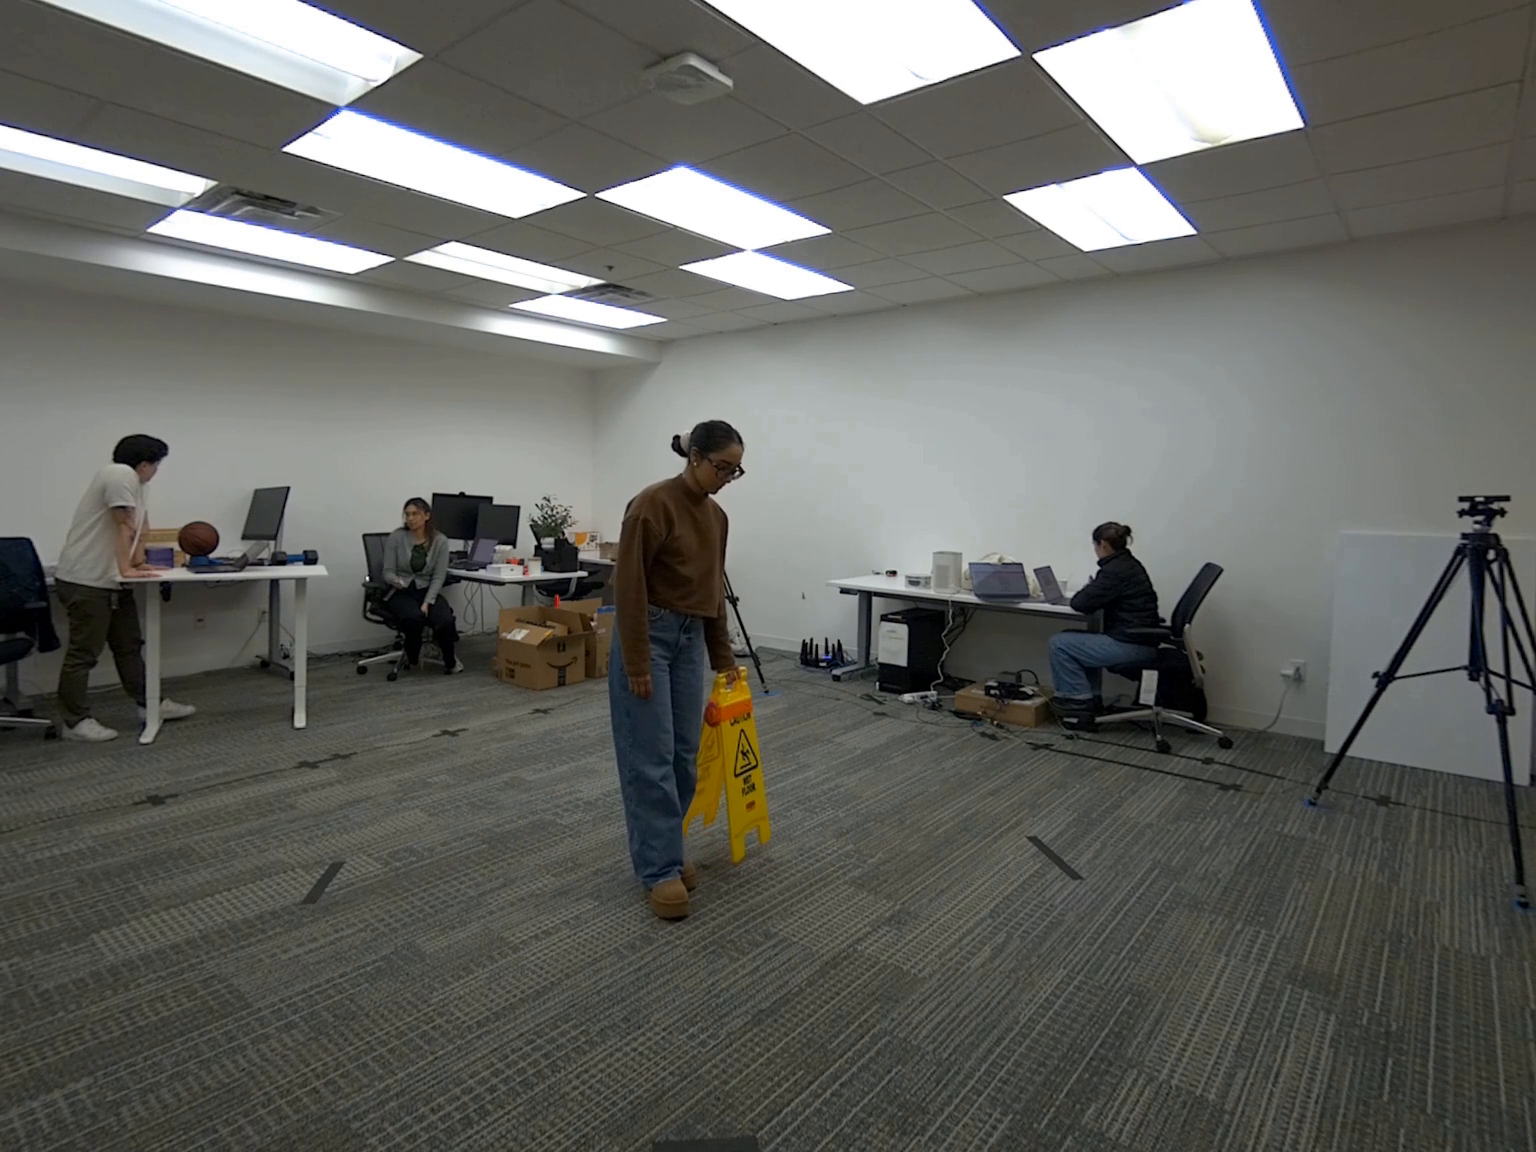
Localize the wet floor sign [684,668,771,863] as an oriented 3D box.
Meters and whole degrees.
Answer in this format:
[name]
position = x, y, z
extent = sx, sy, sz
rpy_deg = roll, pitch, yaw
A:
[wet floor sign]
position = -0.162, 0.672, 3.180
extent = 0.298, 0.645, 0.274
rpy_deg = 4, 2, 30
